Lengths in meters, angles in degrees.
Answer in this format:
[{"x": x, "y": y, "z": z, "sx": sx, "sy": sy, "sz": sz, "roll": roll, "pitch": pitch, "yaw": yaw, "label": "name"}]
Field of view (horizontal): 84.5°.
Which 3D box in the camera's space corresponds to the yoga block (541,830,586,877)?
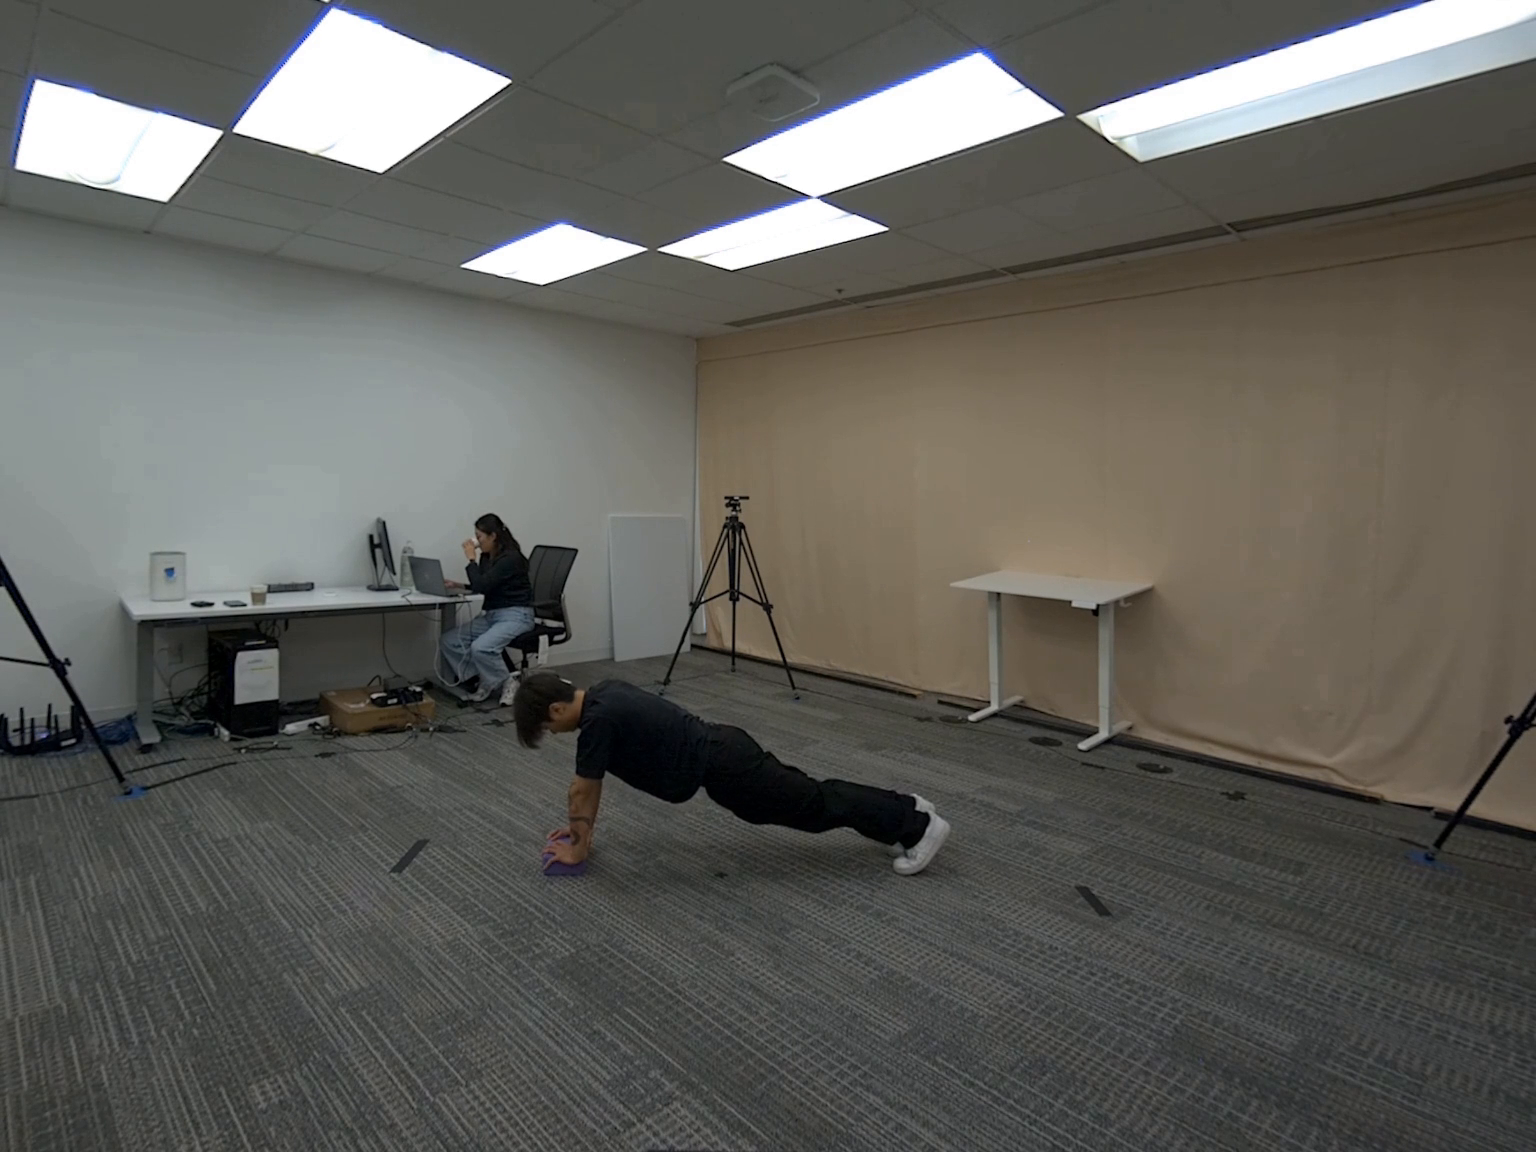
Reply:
[{"x": -0.761, "y": 1.040, "z": 3.179, "sx": 0.148, "sy": 0.076, "sz": 0.231, "roll": 1, "pitch": 5, "yaw": -7, "label": "yoga block"}]
